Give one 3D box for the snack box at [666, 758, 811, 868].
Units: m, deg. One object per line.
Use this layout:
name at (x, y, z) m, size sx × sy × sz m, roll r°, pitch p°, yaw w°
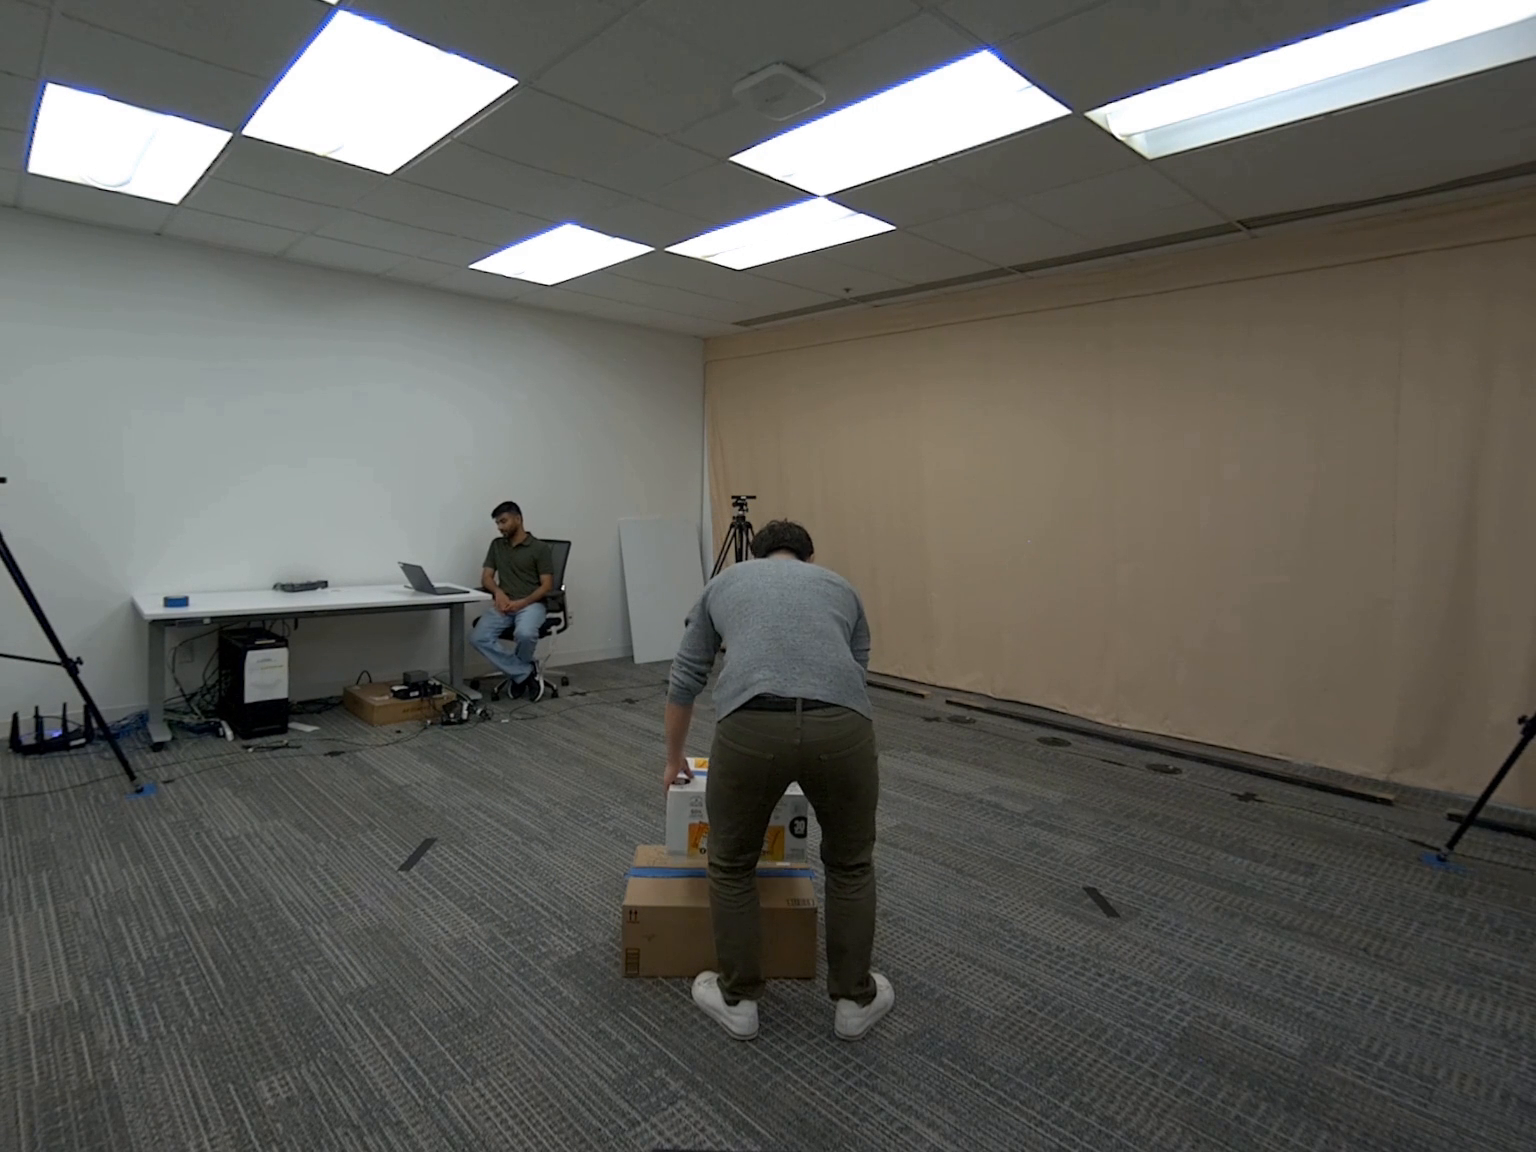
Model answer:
snack box at (-0.097, 0.708, 2.563) m, size 0.404 × 0.205 × 0.342 m, roll 1°, pitch 4°, yaw -3°
